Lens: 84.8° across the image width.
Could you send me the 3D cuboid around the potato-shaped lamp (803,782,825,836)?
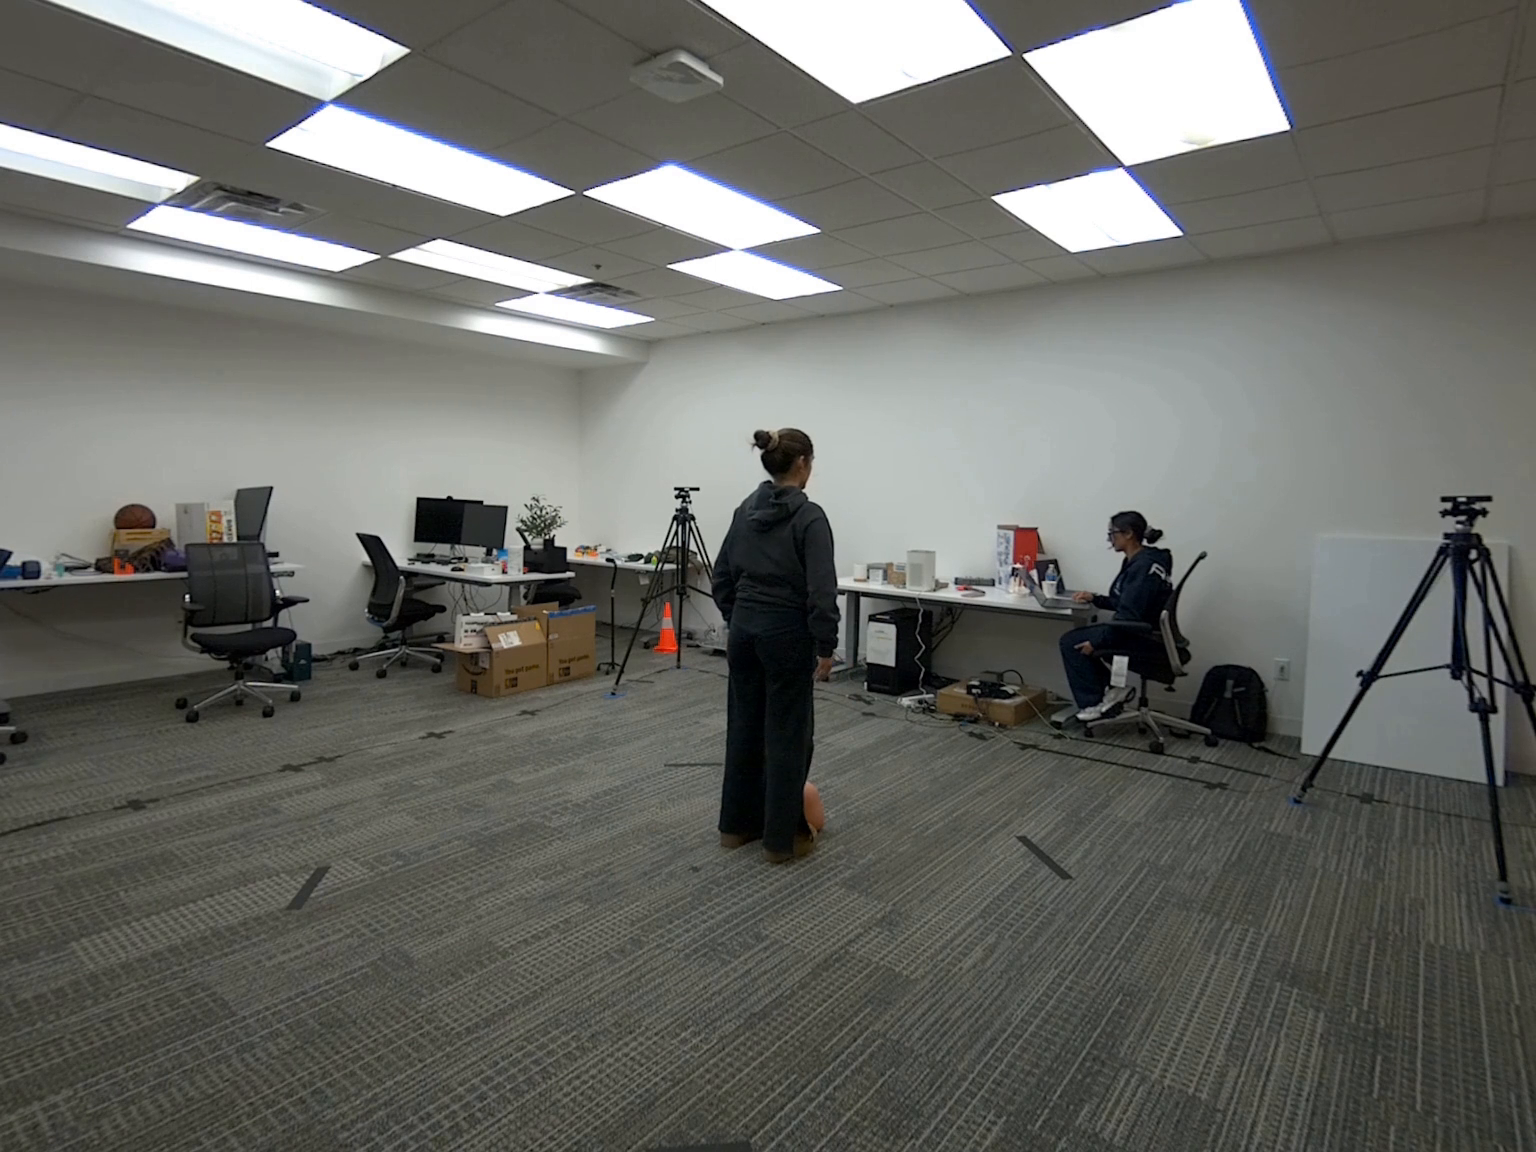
[{"bbox_3d":[0.141,0.931,3.478,0.170,0.197,0.166,4,6,39],"label":"potato-shaped lamp"}]
